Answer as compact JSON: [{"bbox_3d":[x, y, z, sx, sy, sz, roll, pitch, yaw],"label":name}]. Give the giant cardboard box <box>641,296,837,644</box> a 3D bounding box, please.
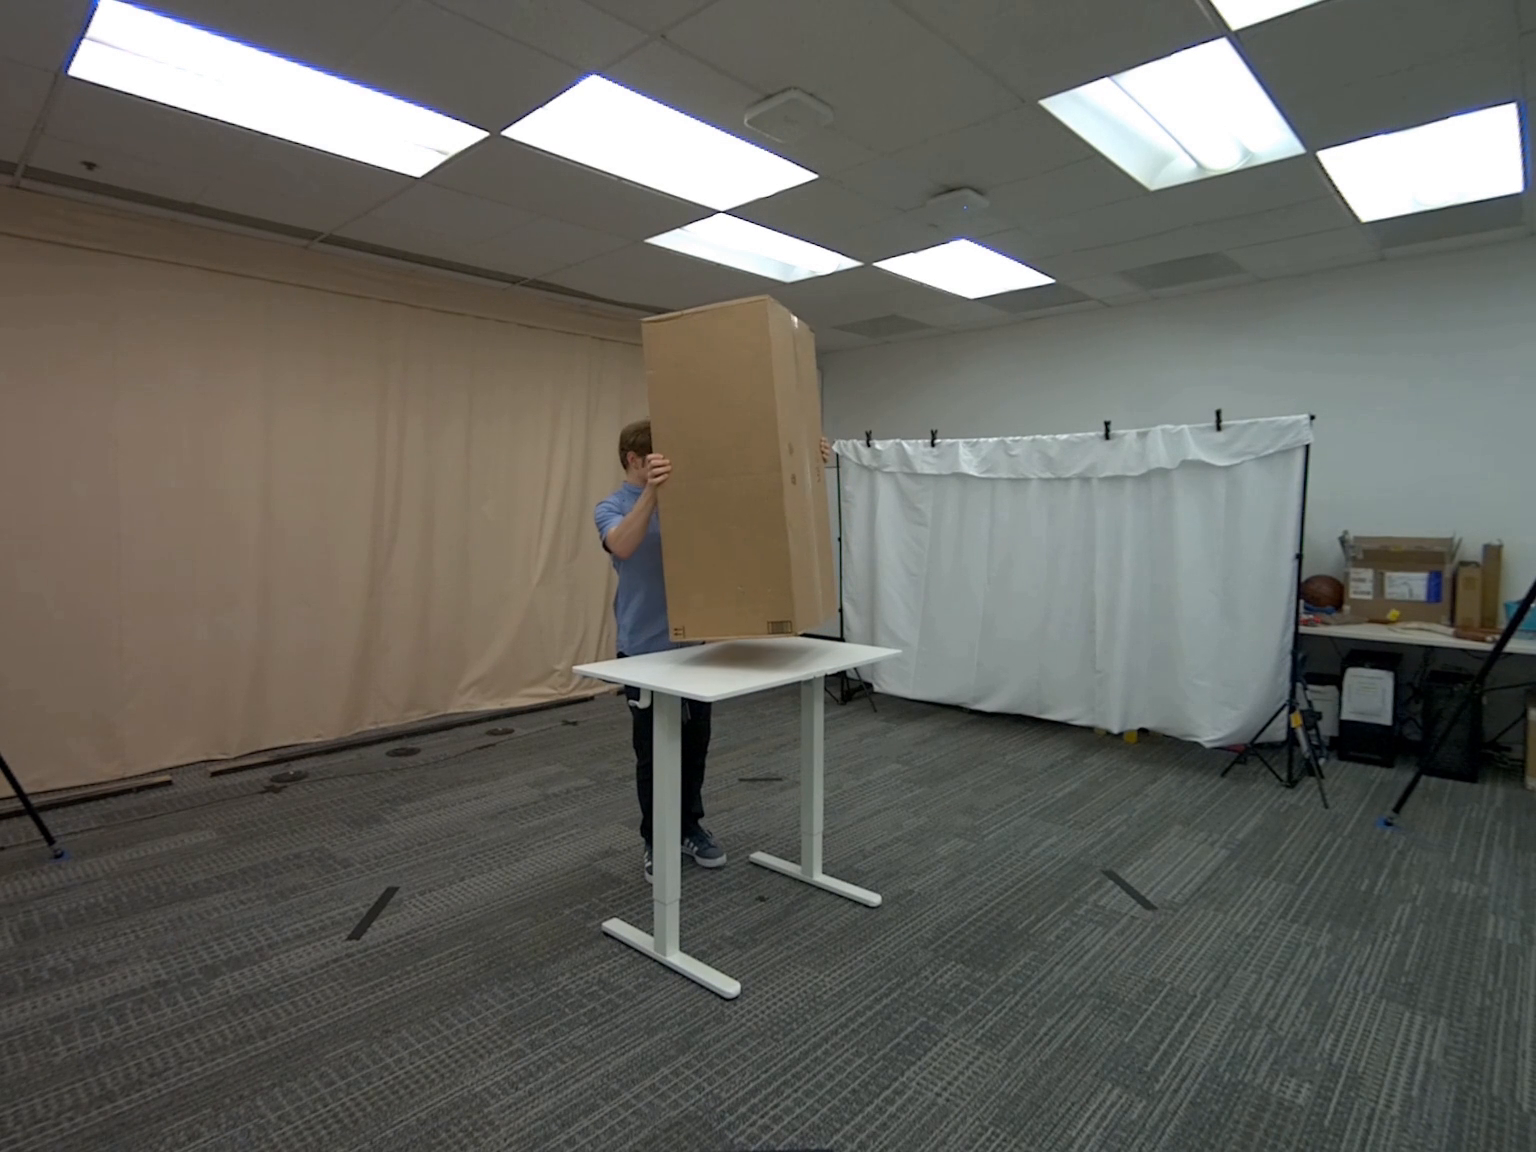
[{"bbox_3d":[-0.071,-0.329,2.841,0.435,1.025,0.567,-4,2,20],"label":"giant cardboard box"}]
